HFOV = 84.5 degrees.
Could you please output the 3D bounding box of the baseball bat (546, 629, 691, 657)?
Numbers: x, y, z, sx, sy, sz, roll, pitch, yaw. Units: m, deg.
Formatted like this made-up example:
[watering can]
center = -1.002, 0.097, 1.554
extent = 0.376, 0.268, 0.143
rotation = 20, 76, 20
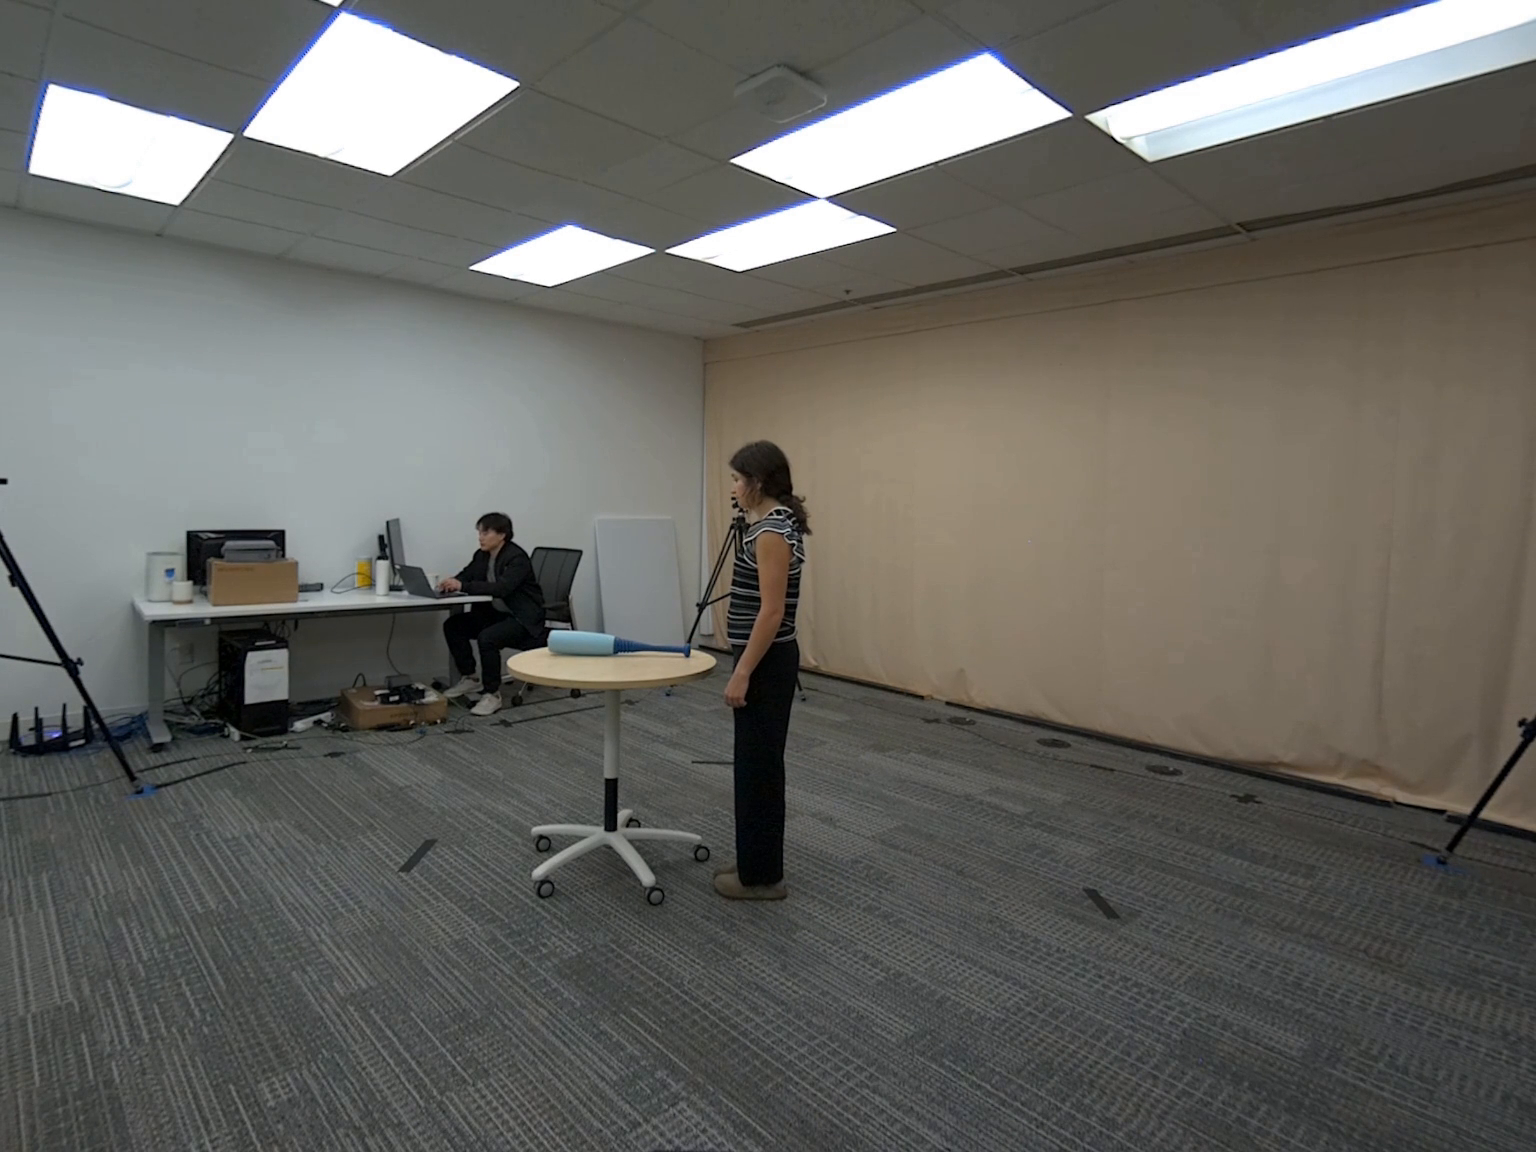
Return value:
[baseball bat]
center = -0.566, 0.266, 3.210
extent = 0.541, 0.089, 0.089
rotation = 3, 4, -3
